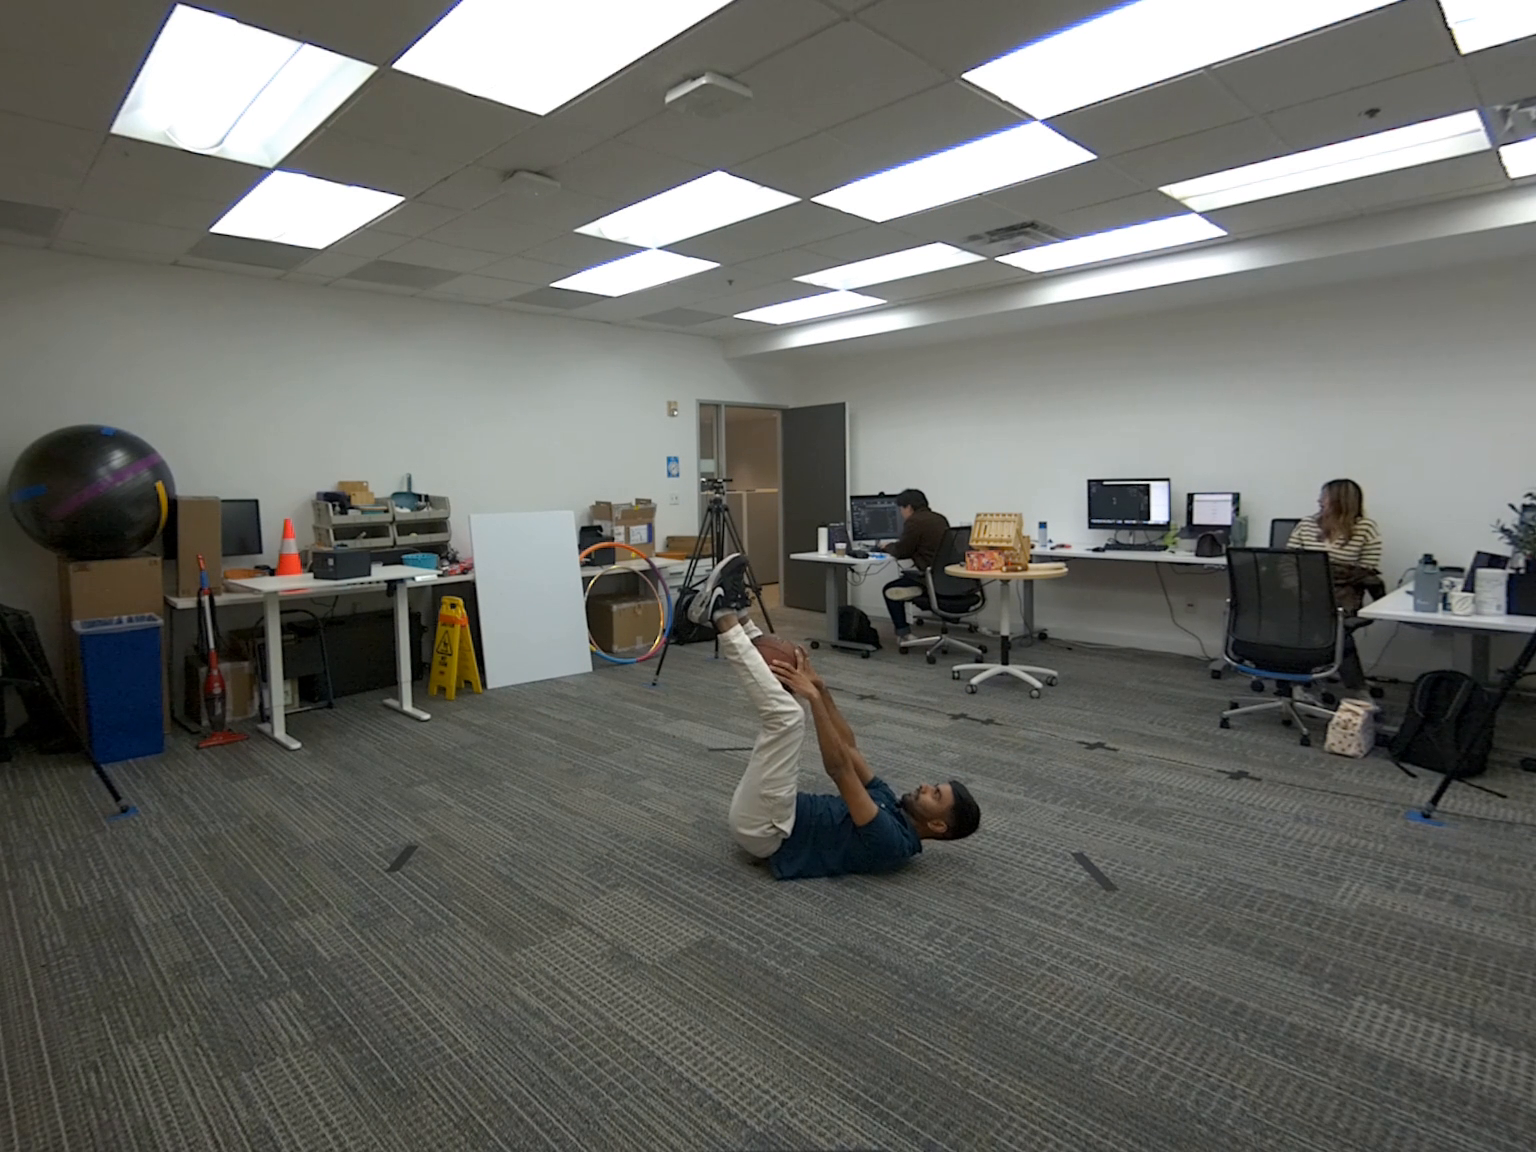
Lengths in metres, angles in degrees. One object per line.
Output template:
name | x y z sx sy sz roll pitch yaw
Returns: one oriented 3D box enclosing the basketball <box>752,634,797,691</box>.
basketball | 0.026 0.333 3.168 0.236 0.235 0.237 -1 5 -2
